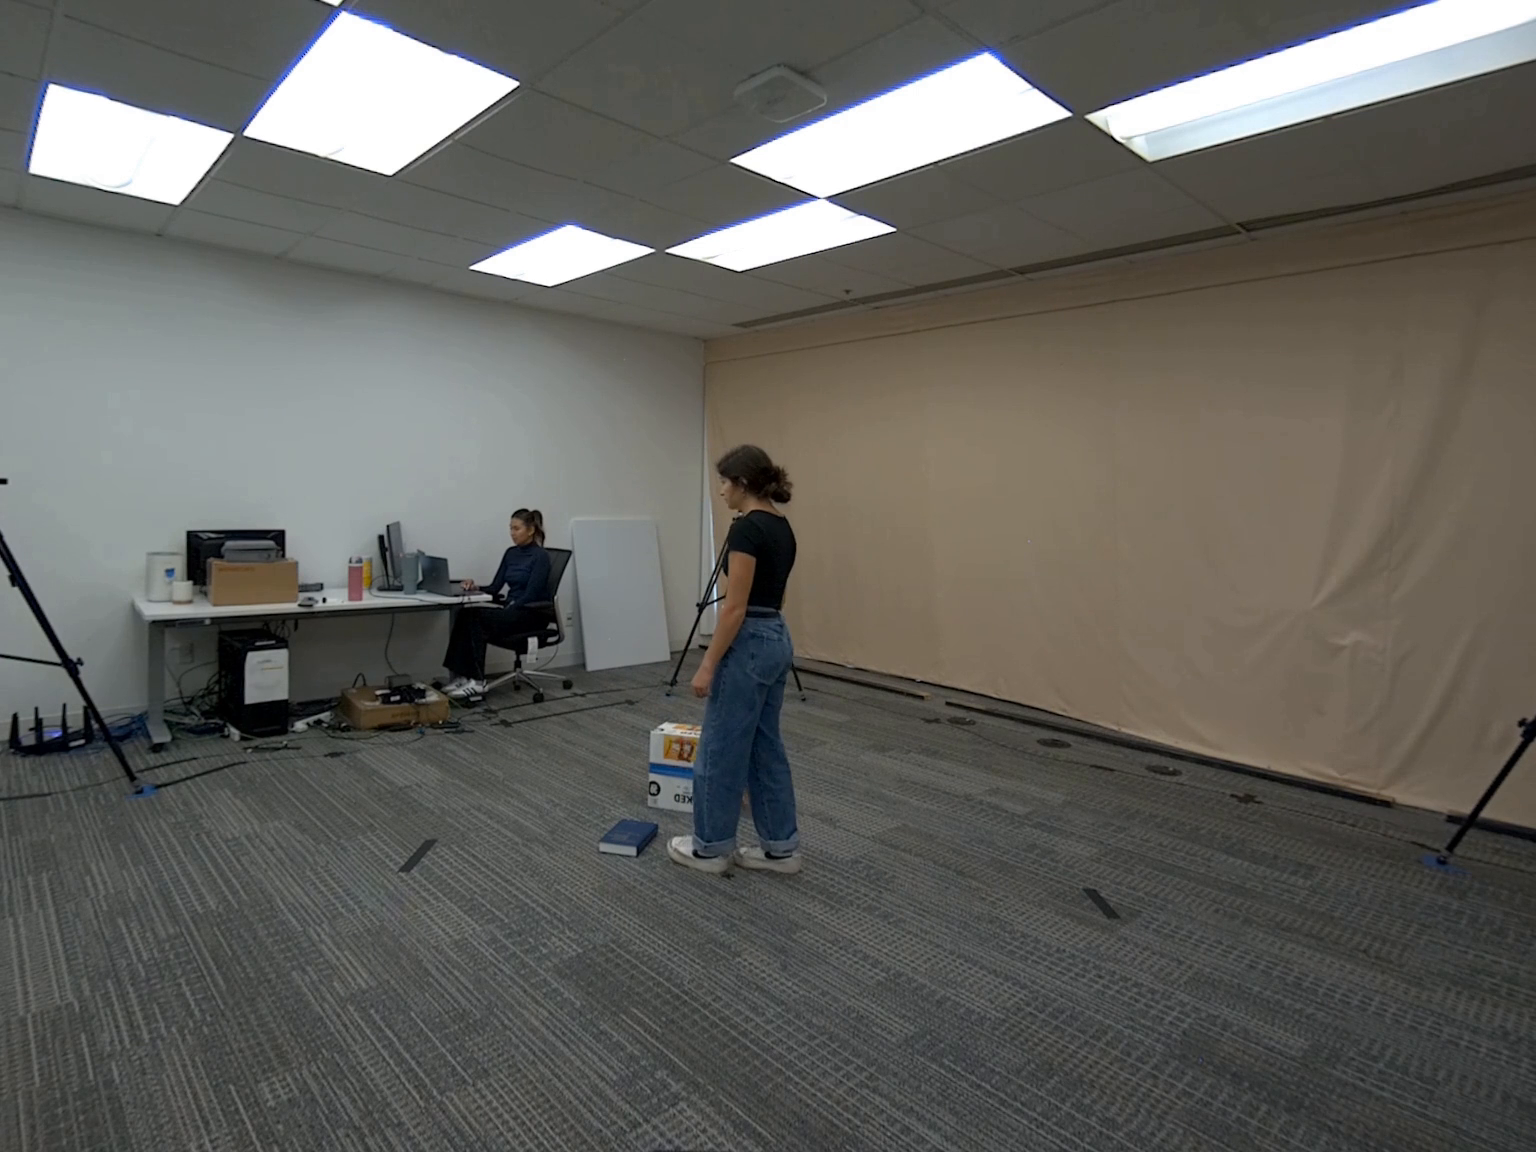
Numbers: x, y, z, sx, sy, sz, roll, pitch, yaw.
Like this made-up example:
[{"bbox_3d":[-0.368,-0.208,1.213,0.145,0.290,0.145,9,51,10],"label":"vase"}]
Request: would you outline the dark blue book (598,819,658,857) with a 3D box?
[{"bbox_3d":[-0.566,1.045,3.376,0.165,0.045,0.243,4,6,13],"label":"dark blue book"}]
